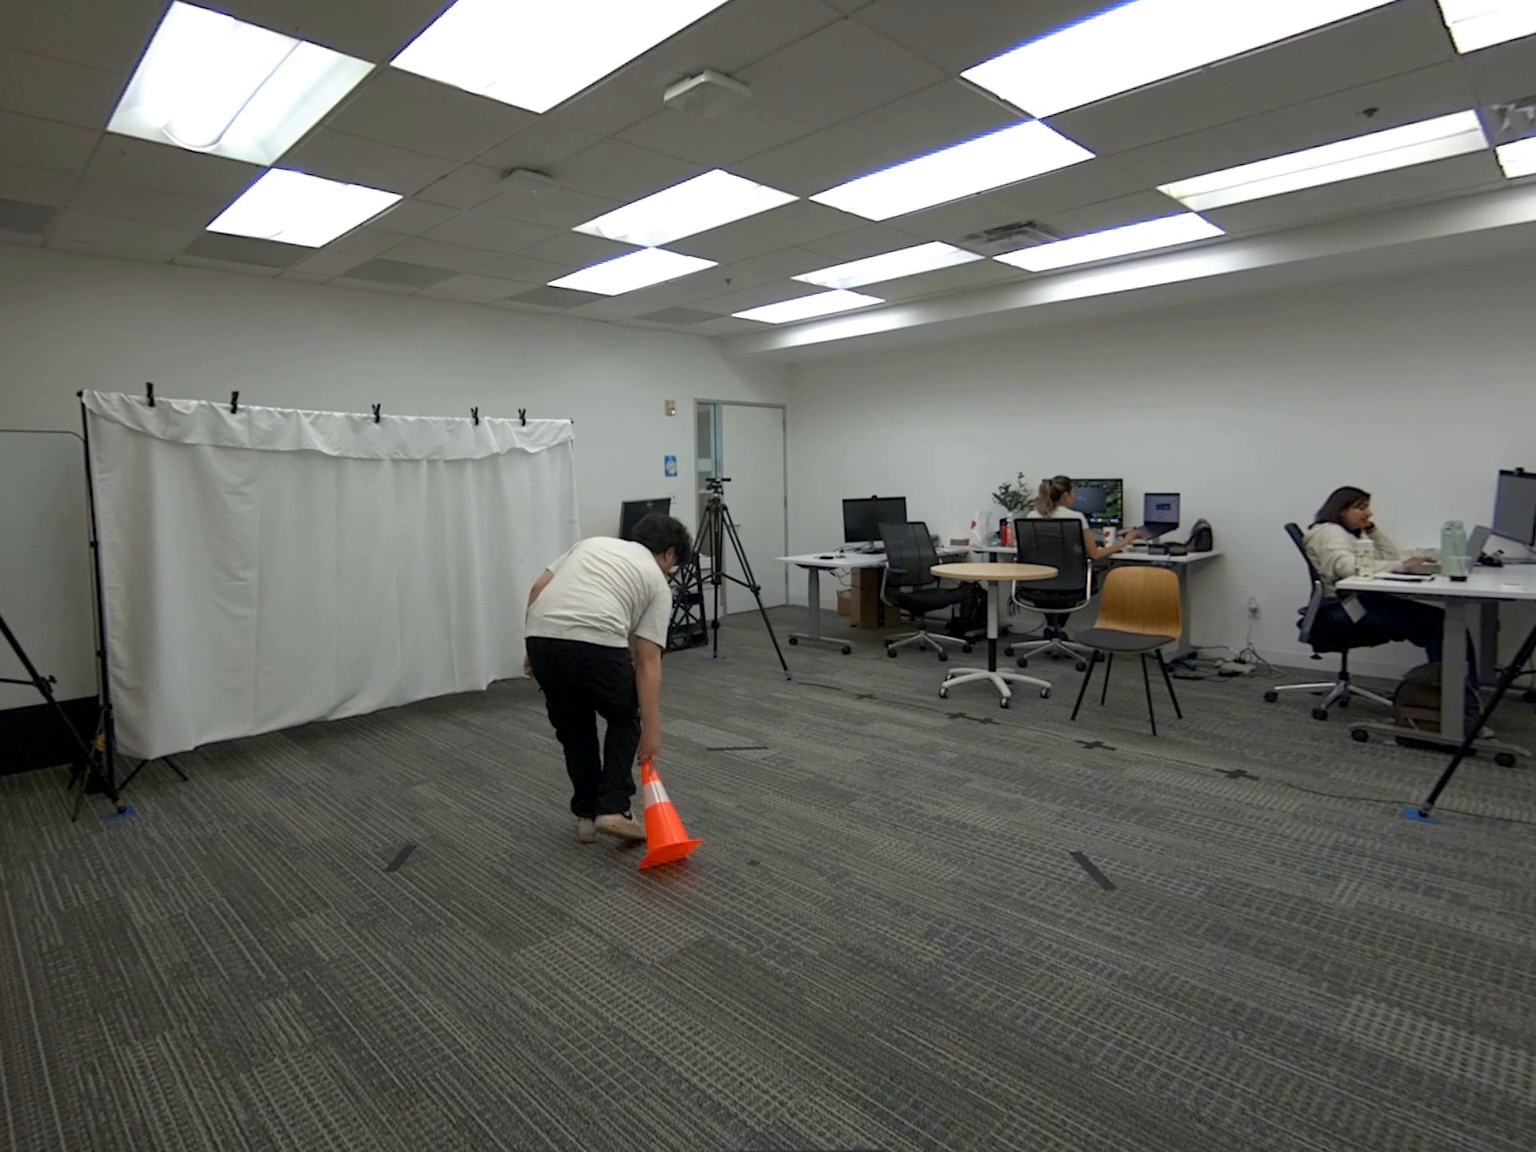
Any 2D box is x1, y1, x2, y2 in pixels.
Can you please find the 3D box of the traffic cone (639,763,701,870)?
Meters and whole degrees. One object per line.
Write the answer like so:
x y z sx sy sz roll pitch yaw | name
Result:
-0.406 0.836 3.152 0.200 0.396 0.201 0 -37 -27 | traffic cone
